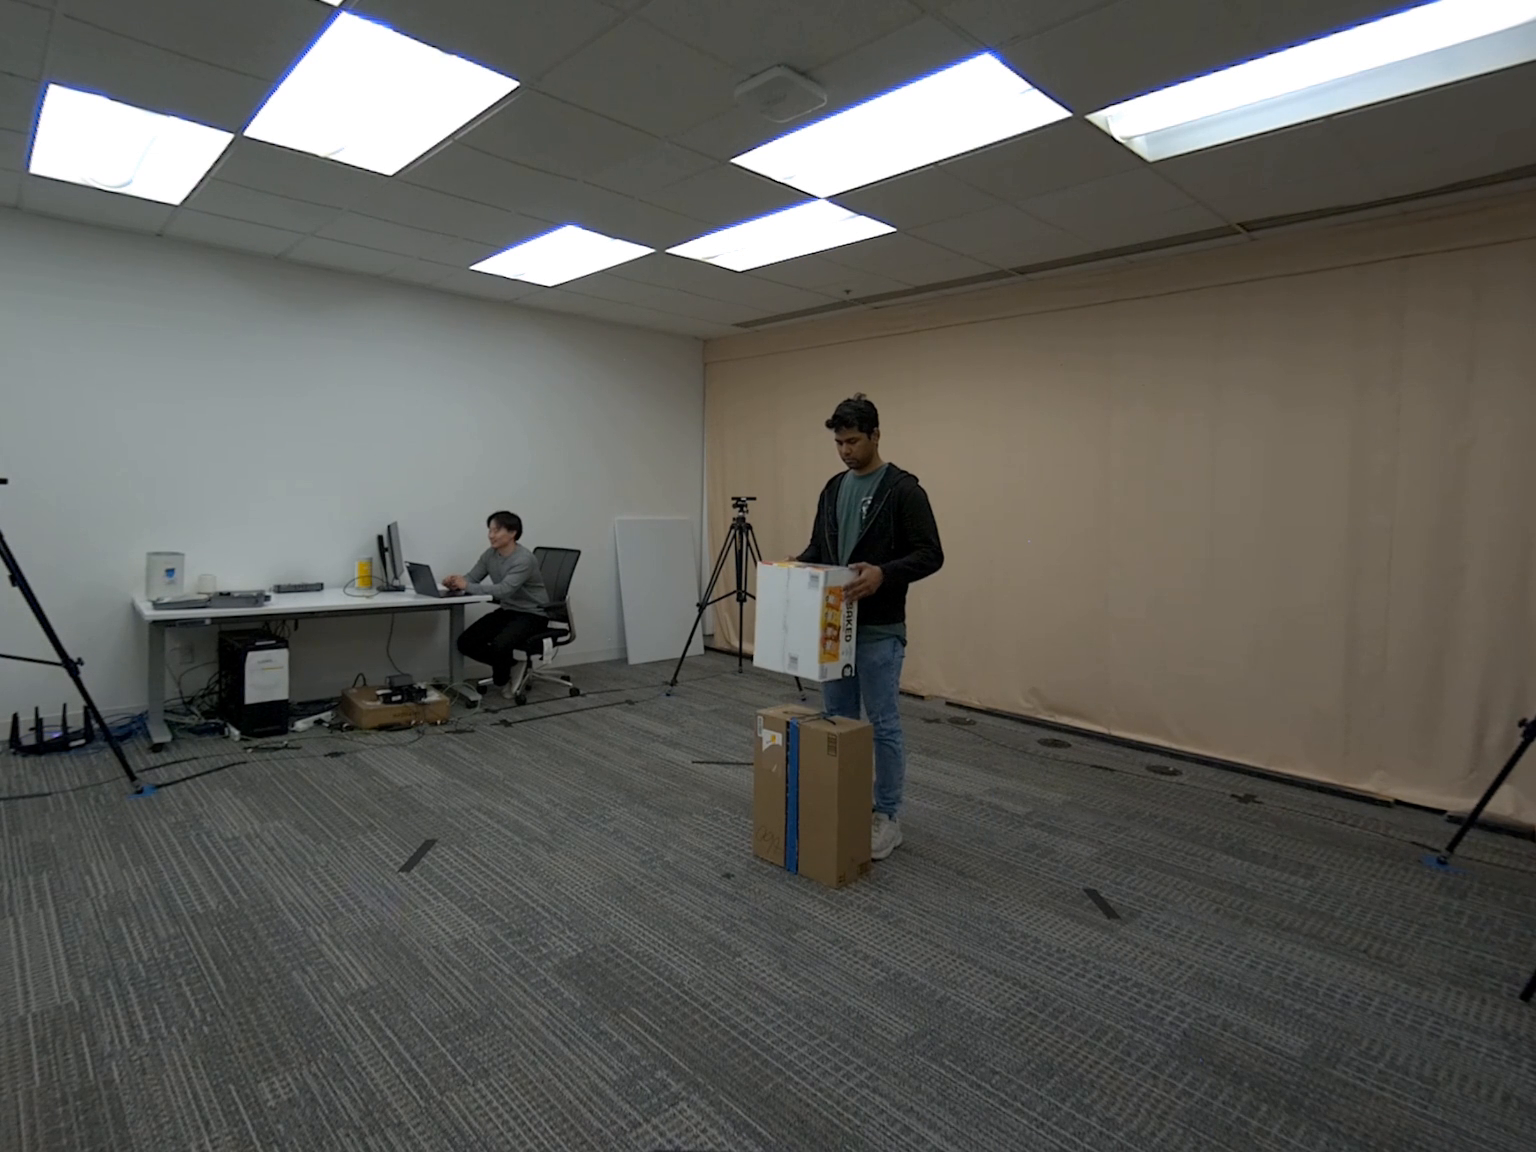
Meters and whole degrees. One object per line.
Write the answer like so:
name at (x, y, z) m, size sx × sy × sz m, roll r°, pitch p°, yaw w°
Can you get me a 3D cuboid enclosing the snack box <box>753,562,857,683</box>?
snack box at (0.135, 0.158, 3.177) m, size 0.201 × 0.404 × 0.349 m, roll -1°, pitch 5°, yaw -44°
